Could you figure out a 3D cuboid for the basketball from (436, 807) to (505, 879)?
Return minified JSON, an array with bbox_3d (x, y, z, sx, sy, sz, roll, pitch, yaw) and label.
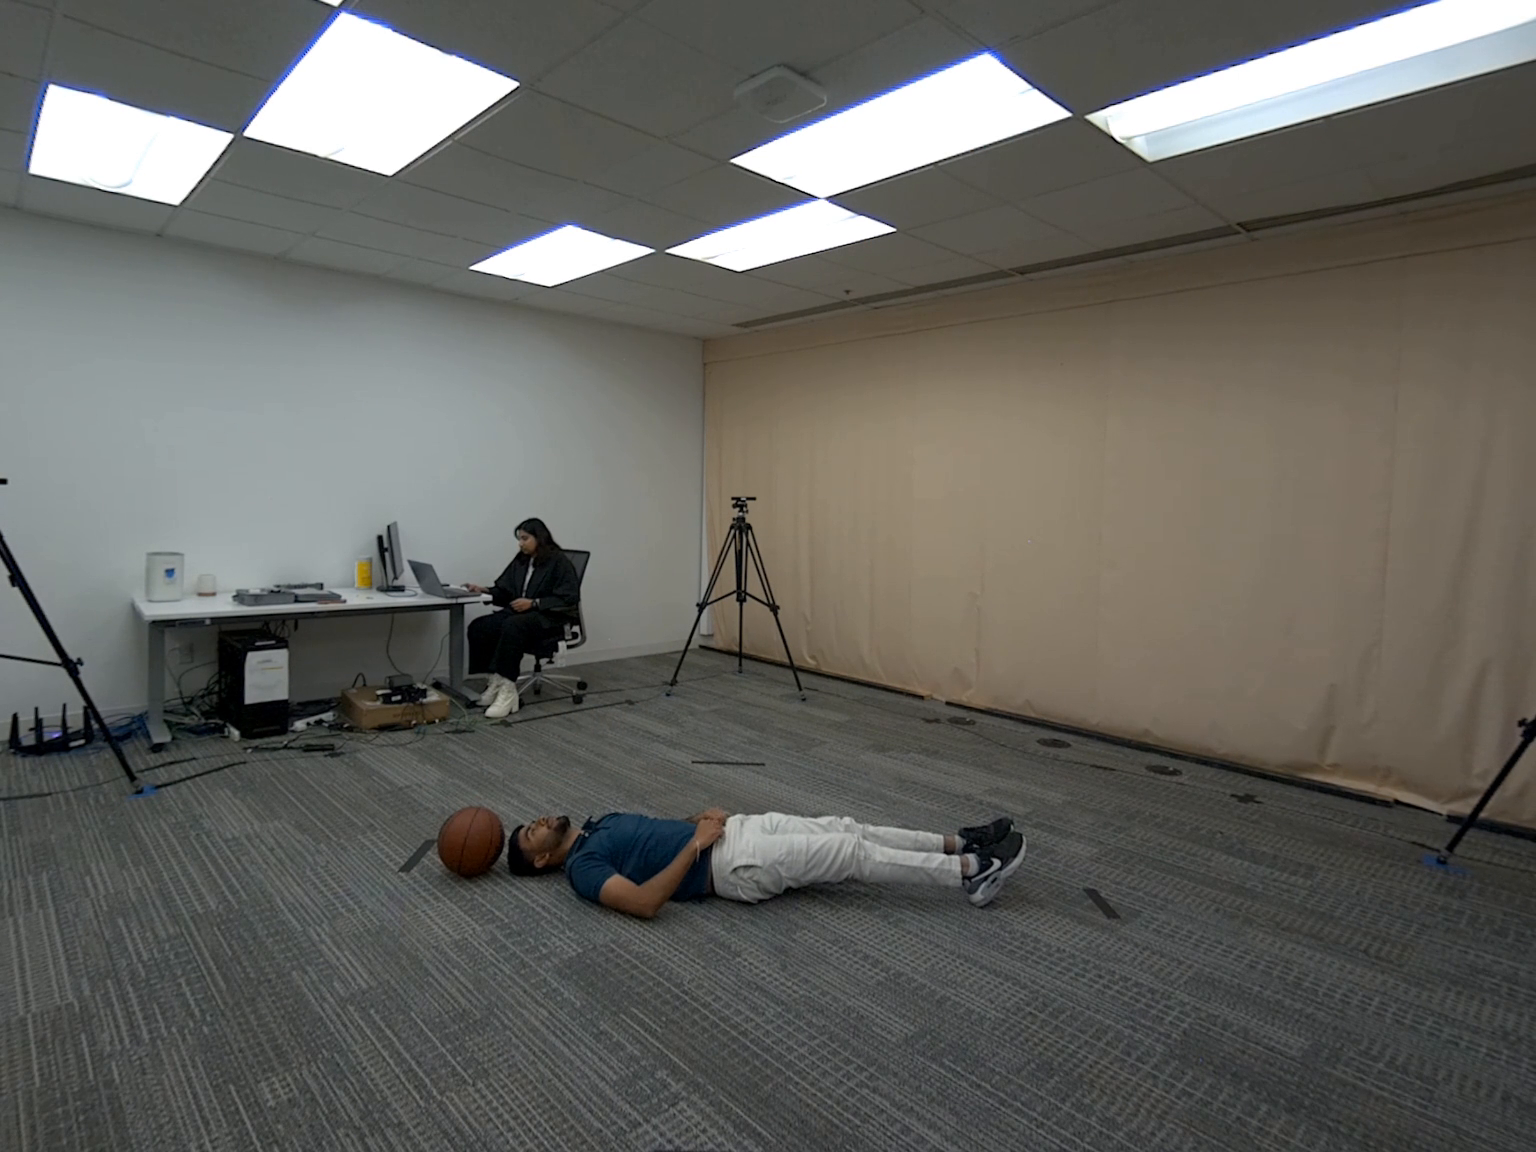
[{"bbox_3d":[-1.095,0.969,3.073,0.236,0.235,0.237,1,4,-1],"label":"basketball"}]
